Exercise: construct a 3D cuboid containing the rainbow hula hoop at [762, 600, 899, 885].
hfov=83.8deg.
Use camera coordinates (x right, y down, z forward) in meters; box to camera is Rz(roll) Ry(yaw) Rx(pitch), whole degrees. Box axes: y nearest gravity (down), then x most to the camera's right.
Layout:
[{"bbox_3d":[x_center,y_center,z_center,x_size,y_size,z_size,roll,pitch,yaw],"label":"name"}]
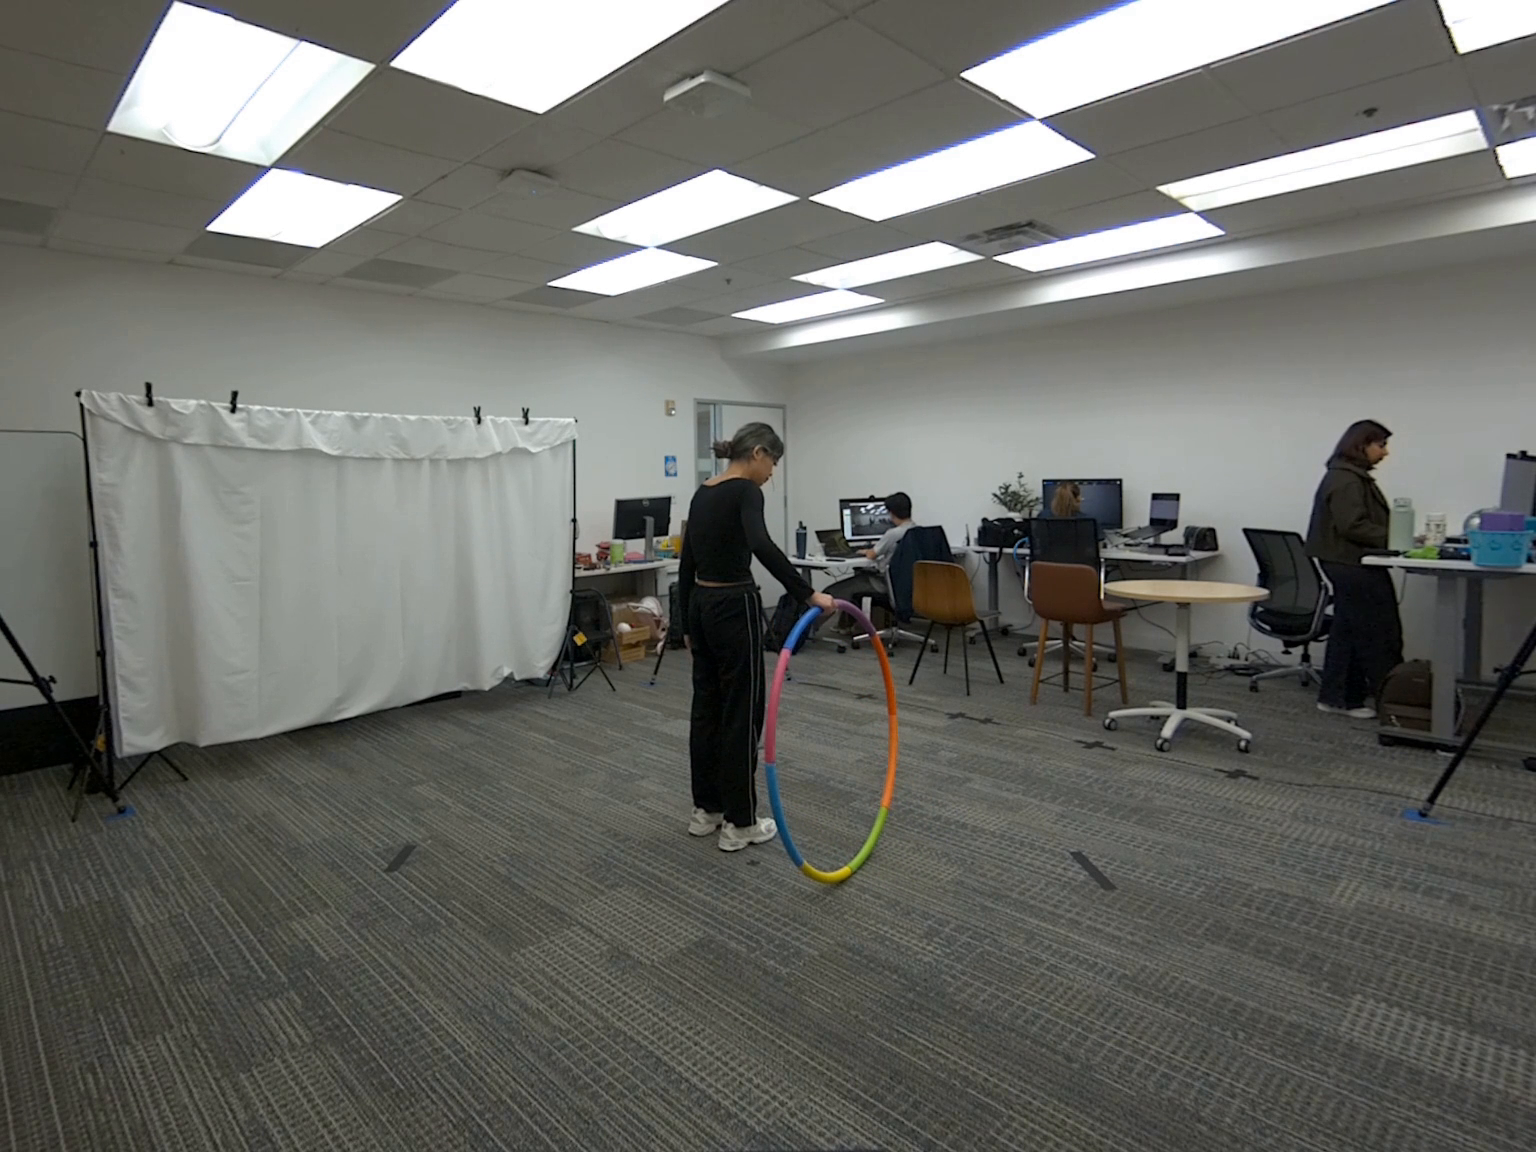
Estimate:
[{"bbox_3d":[0.249,0.566,3.027,0.036,0.978,0.957,-7,1,31],"label":"rainbow hula hoop"}]
